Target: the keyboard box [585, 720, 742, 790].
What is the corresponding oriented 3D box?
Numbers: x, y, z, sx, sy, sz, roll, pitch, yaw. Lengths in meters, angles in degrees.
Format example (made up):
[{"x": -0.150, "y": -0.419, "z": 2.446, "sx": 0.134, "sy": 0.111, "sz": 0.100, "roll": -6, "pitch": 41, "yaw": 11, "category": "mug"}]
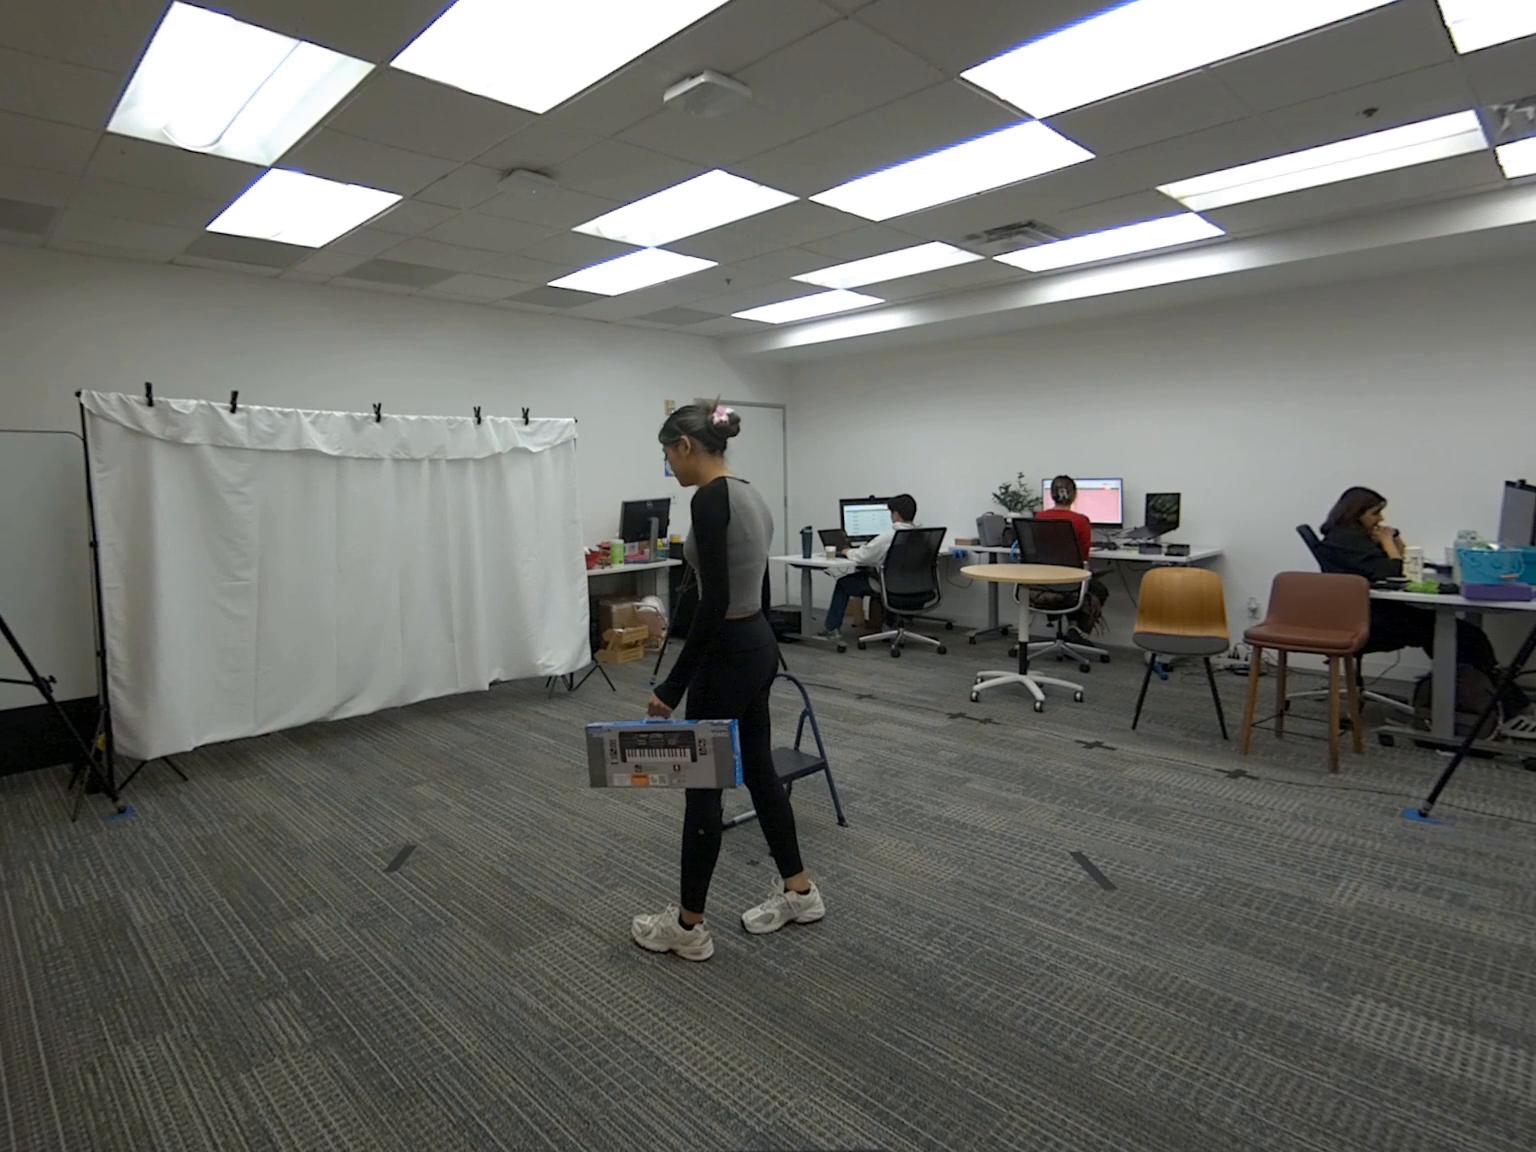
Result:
[{"x": -0.283, "y": 0.485, "z": 2.343, "sx": 0.443, "sy": 0.176, "sz": 0.058, "roll": -6, "pitch": -2, "yaw": 18, "category": "keyboard box"}]
